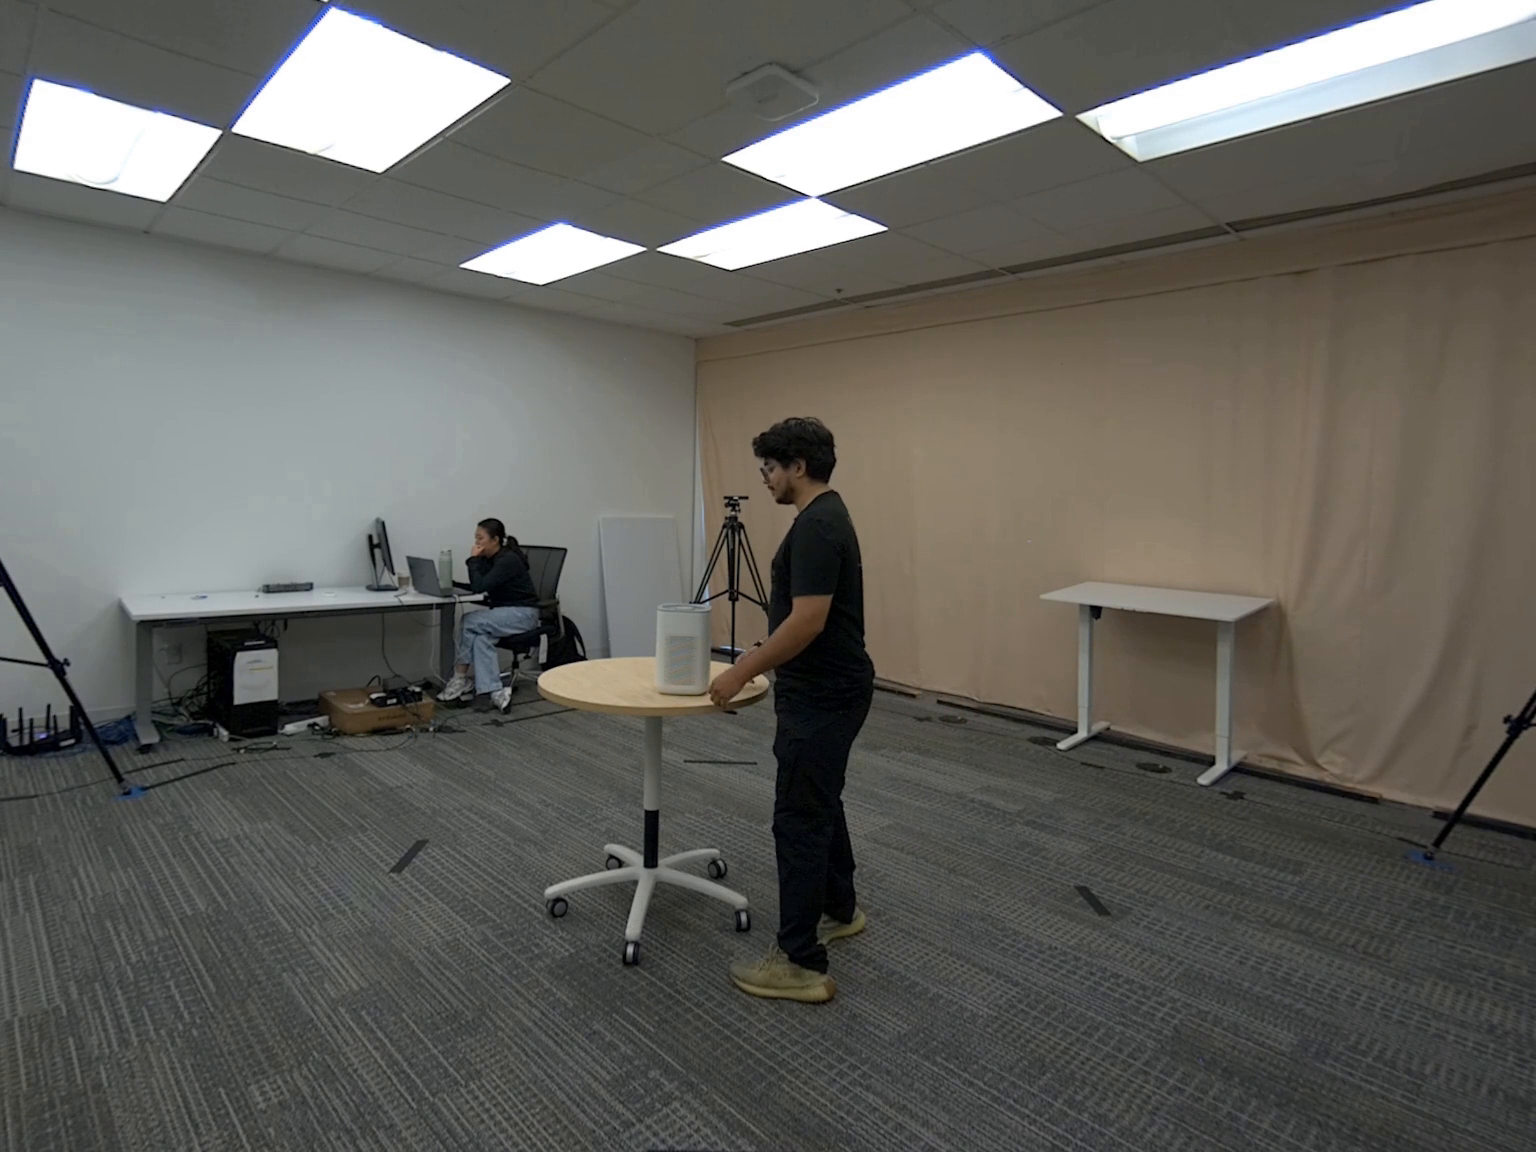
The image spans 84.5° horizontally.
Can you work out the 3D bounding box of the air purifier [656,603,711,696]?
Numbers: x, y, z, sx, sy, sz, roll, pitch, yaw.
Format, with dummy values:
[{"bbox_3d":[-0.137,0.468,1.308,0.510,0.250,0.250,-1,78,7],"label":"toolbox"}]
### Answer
[{"bbox_3d":[-0.264,0.227,2.648,0.172,0.265,0.171,2,2,1],"label":"air purifier"}]
